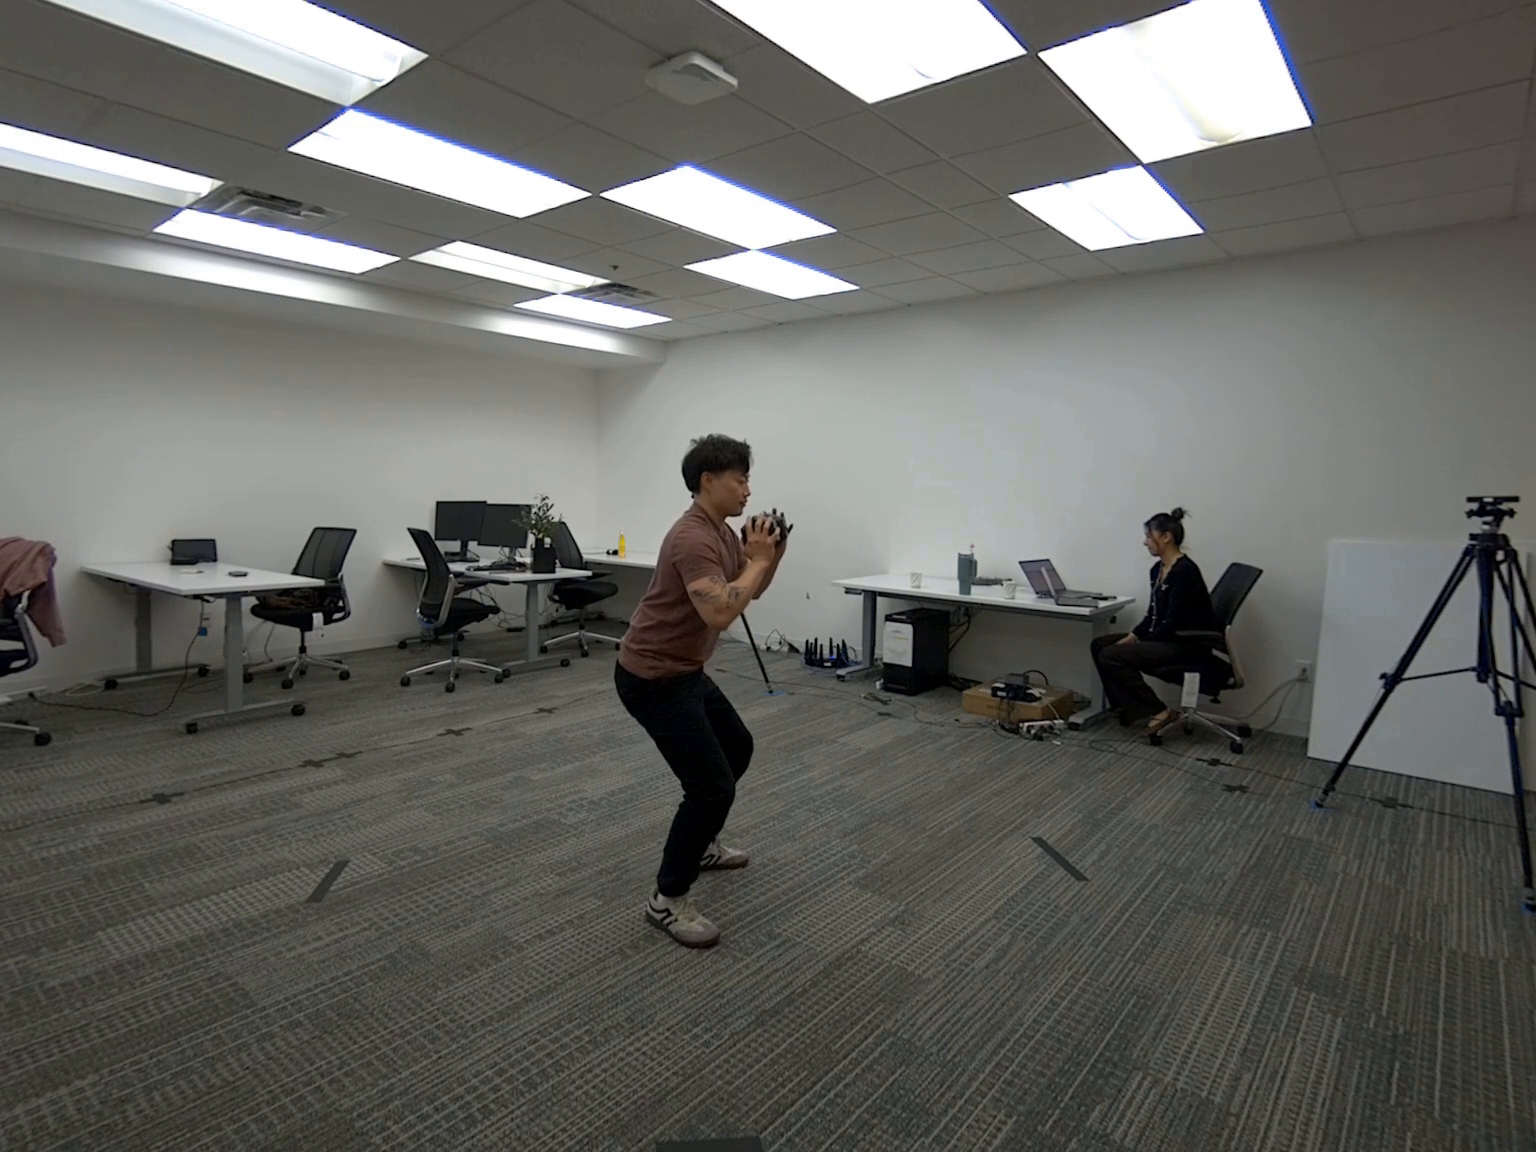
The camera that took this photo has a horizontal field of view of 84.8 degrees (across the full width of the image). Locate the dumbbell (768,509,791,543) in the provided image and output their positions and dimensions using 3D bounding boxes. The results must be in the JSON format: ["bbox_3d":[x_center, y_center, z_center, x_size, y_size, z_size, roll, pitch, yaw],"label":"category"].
[{"bbox_3d":[-0.013,-0.128,2.792,0.124,0.108,0.290,16,2,8],"label":"dumbbell"}]
